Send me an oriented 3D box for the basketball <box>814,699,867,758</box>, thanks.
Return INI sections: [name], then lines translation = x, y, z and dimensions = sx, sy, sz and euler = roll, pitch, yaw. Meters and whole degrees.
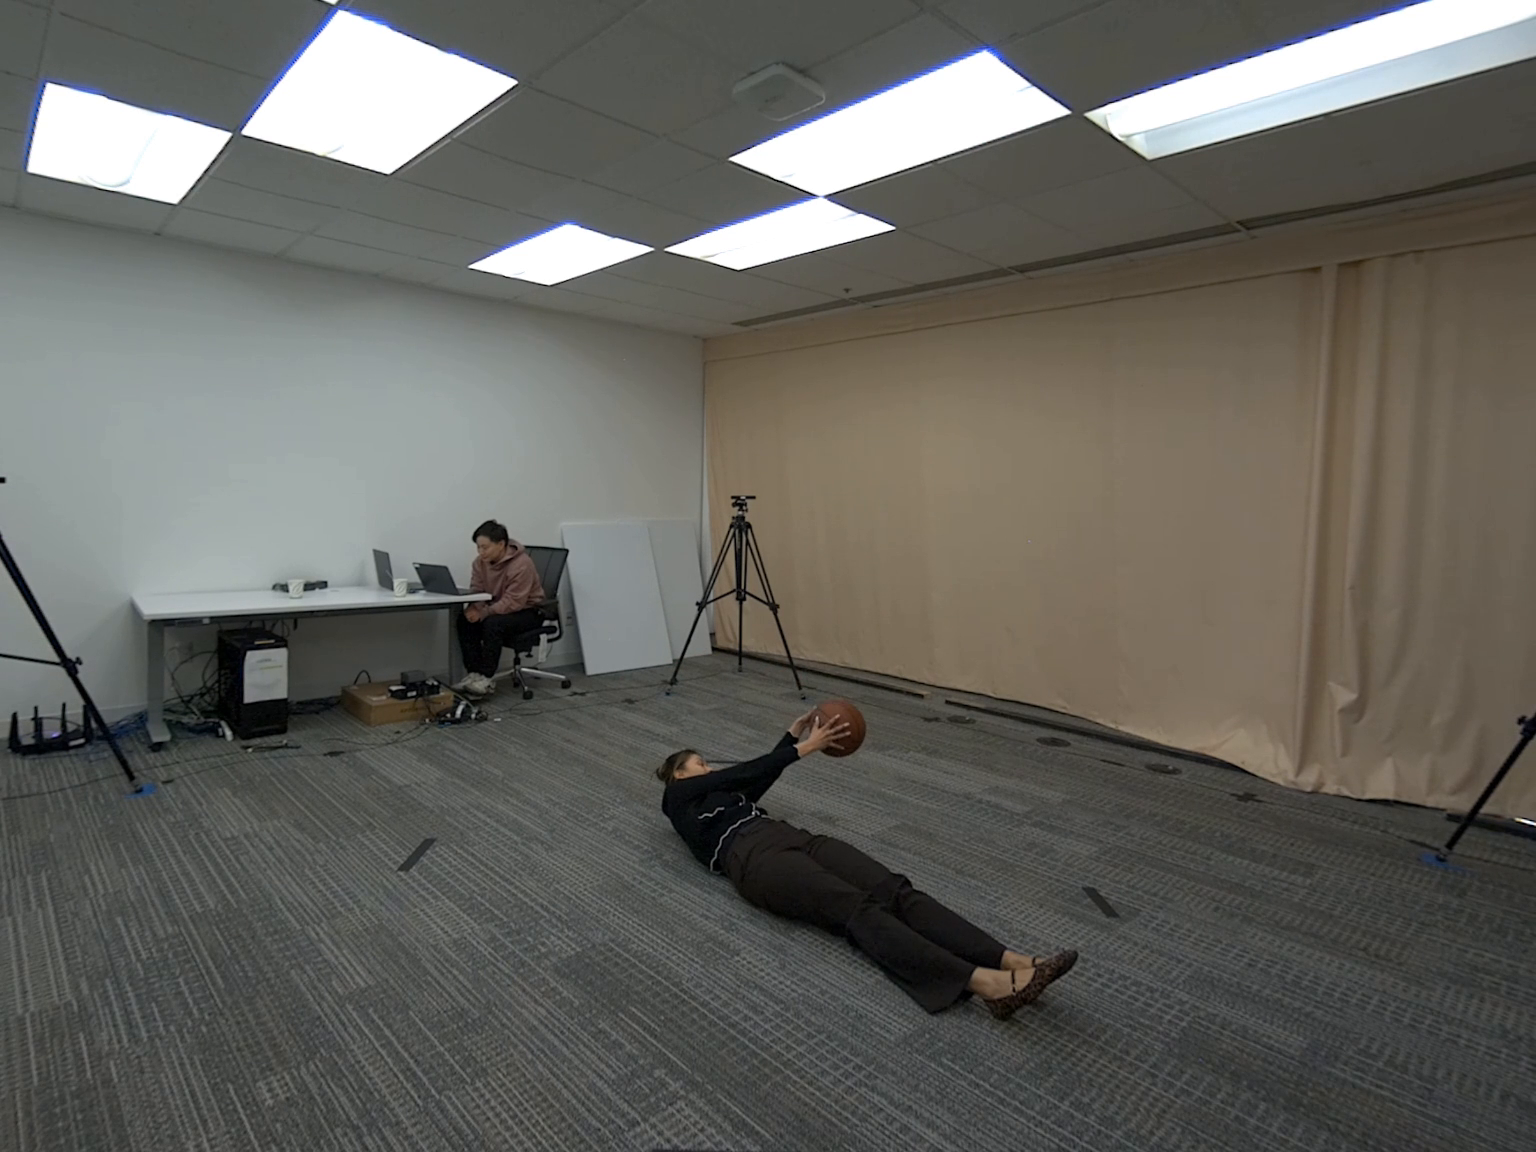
[basketball]
translation = 0.276, 0.641, 3.535
dimensions = 0.236, 0.235, 0.237
euler = 1, 4, -1
